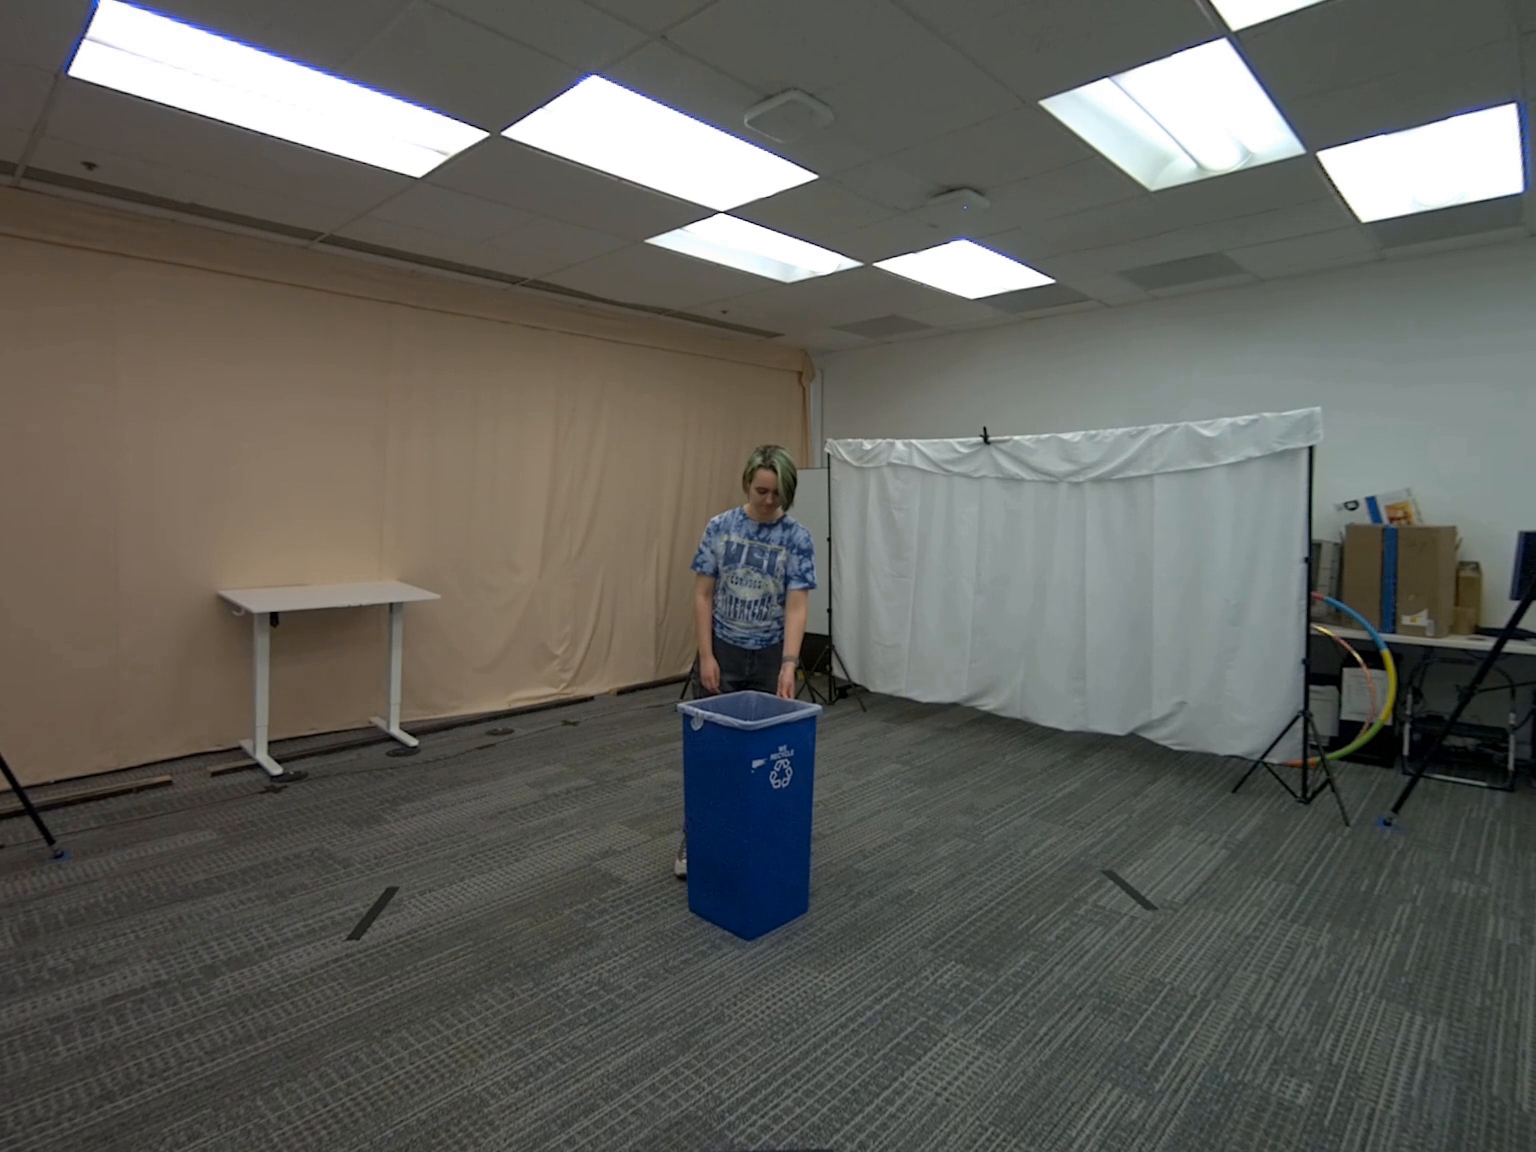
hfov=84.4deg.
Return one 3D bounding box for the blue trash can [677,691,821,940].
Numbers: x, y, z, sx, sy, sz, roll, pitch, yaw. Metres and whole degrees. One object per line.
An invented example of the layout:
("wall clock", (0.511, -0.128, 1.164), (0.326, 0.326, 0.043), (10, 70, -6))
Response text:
("blue trash can", (-0.061, 0.792, 2.884), (0.362, 0.712, 0.391), (-3, 5, -44))
